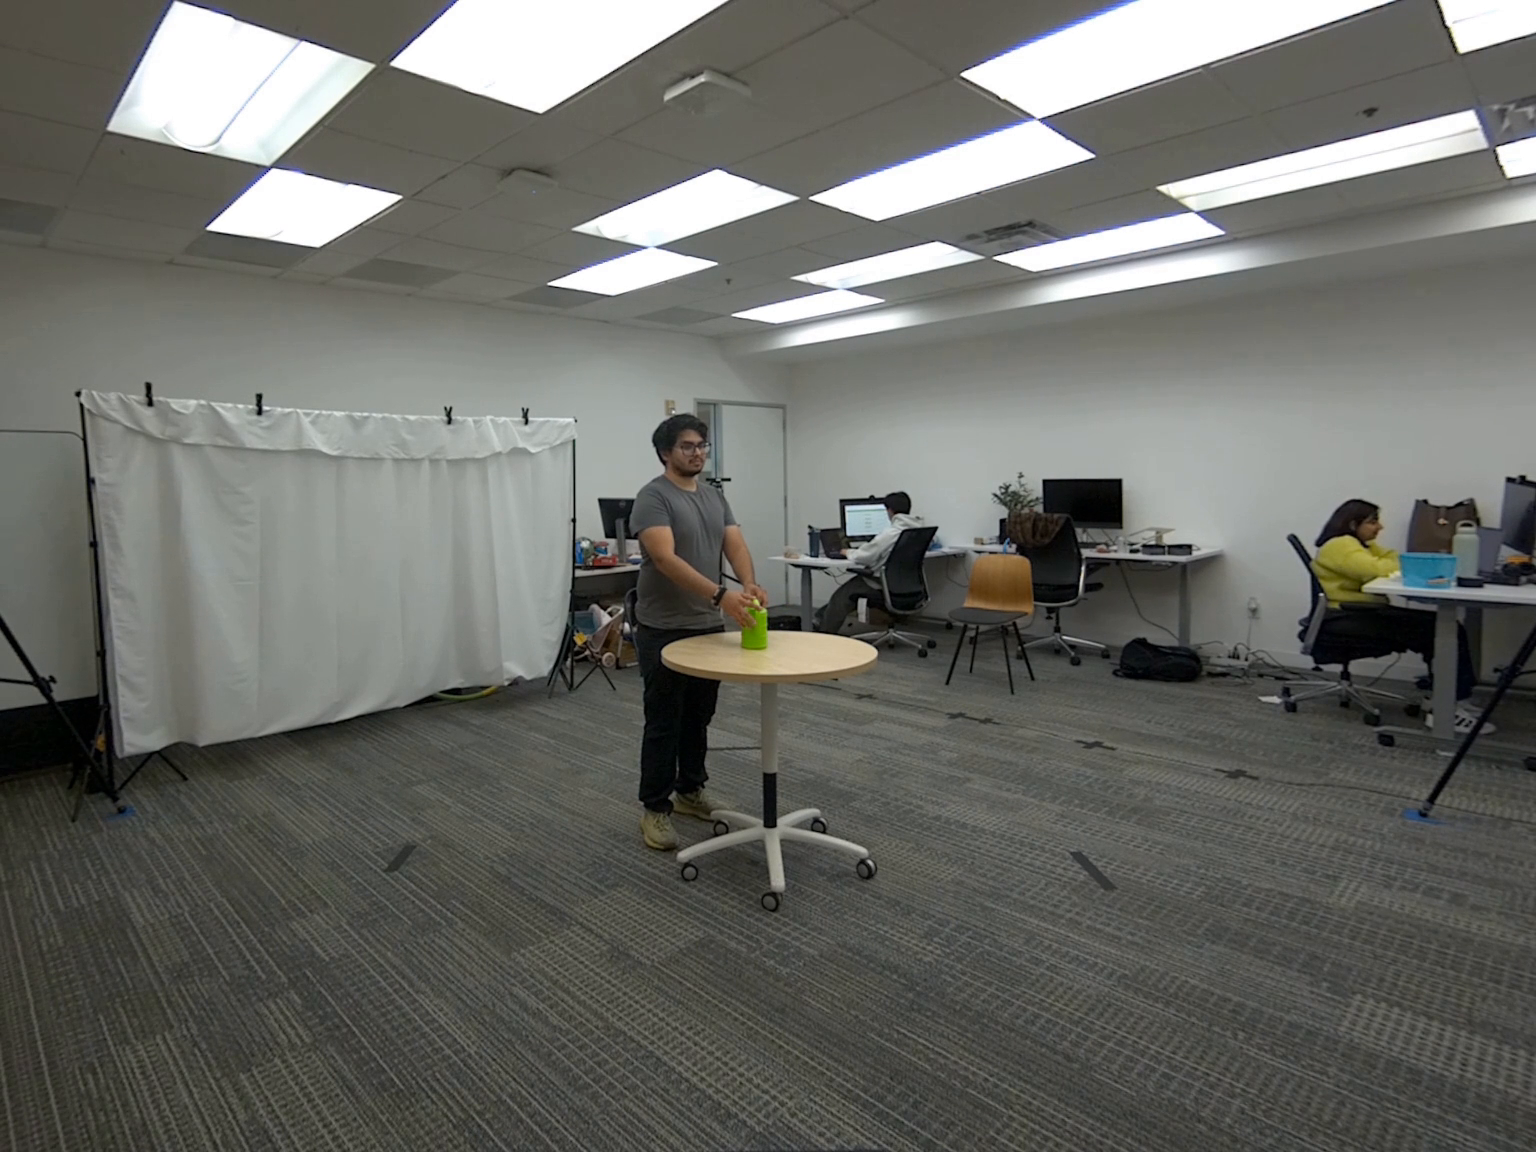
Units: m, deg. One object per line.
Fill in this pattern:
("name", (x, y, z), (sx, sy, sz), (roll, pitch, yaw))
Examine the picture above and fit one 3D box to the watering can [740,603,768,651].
("watering can", (-0.045, 0.172, 3.155), (0.098, 0.176, 0.279), (0, 5, 1))
